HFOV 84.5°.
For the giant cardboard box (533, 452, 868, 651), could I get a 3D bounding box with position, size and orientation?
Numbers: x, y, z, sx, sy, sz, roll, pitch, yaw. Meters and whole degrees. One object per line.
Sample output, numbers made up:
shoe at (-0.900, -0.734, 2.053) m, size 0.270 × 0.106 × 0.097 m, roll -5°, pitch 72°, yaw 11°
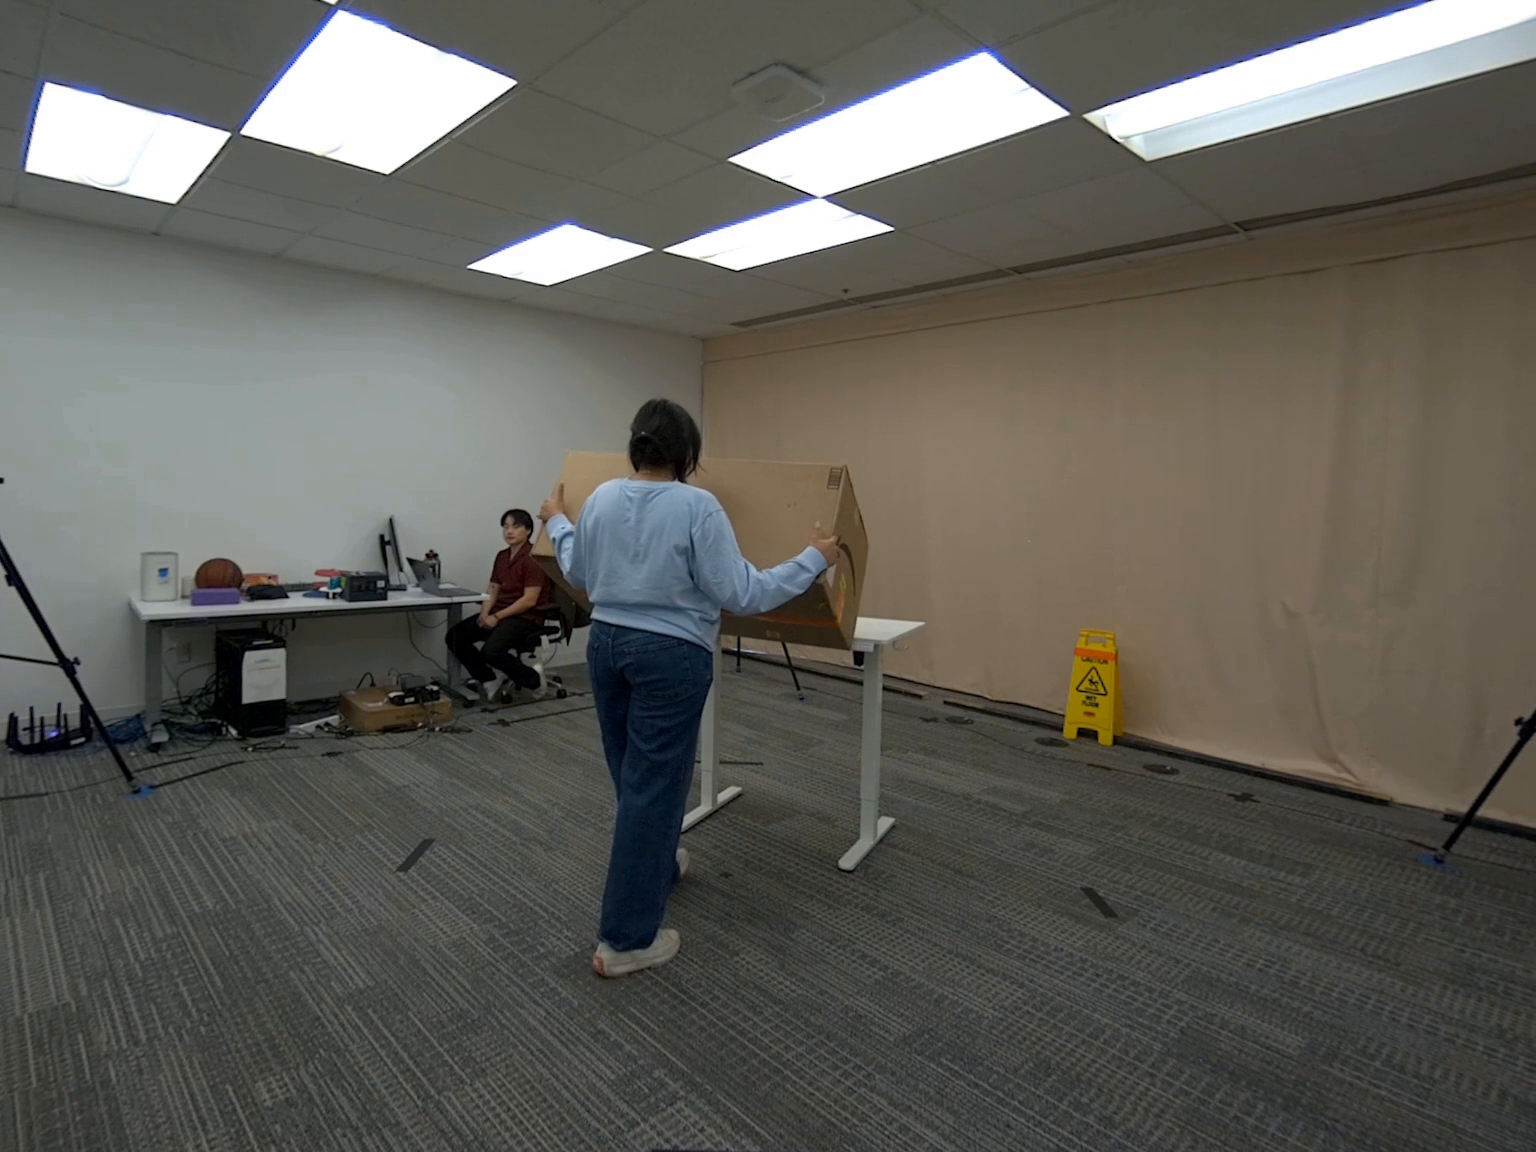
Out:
giant cardboard box at (-0.216, -0.097, 3.004) m, size 1.042 × 0.431 × 0.562 m, roll 6°, pitch -24°, yaw 19°
